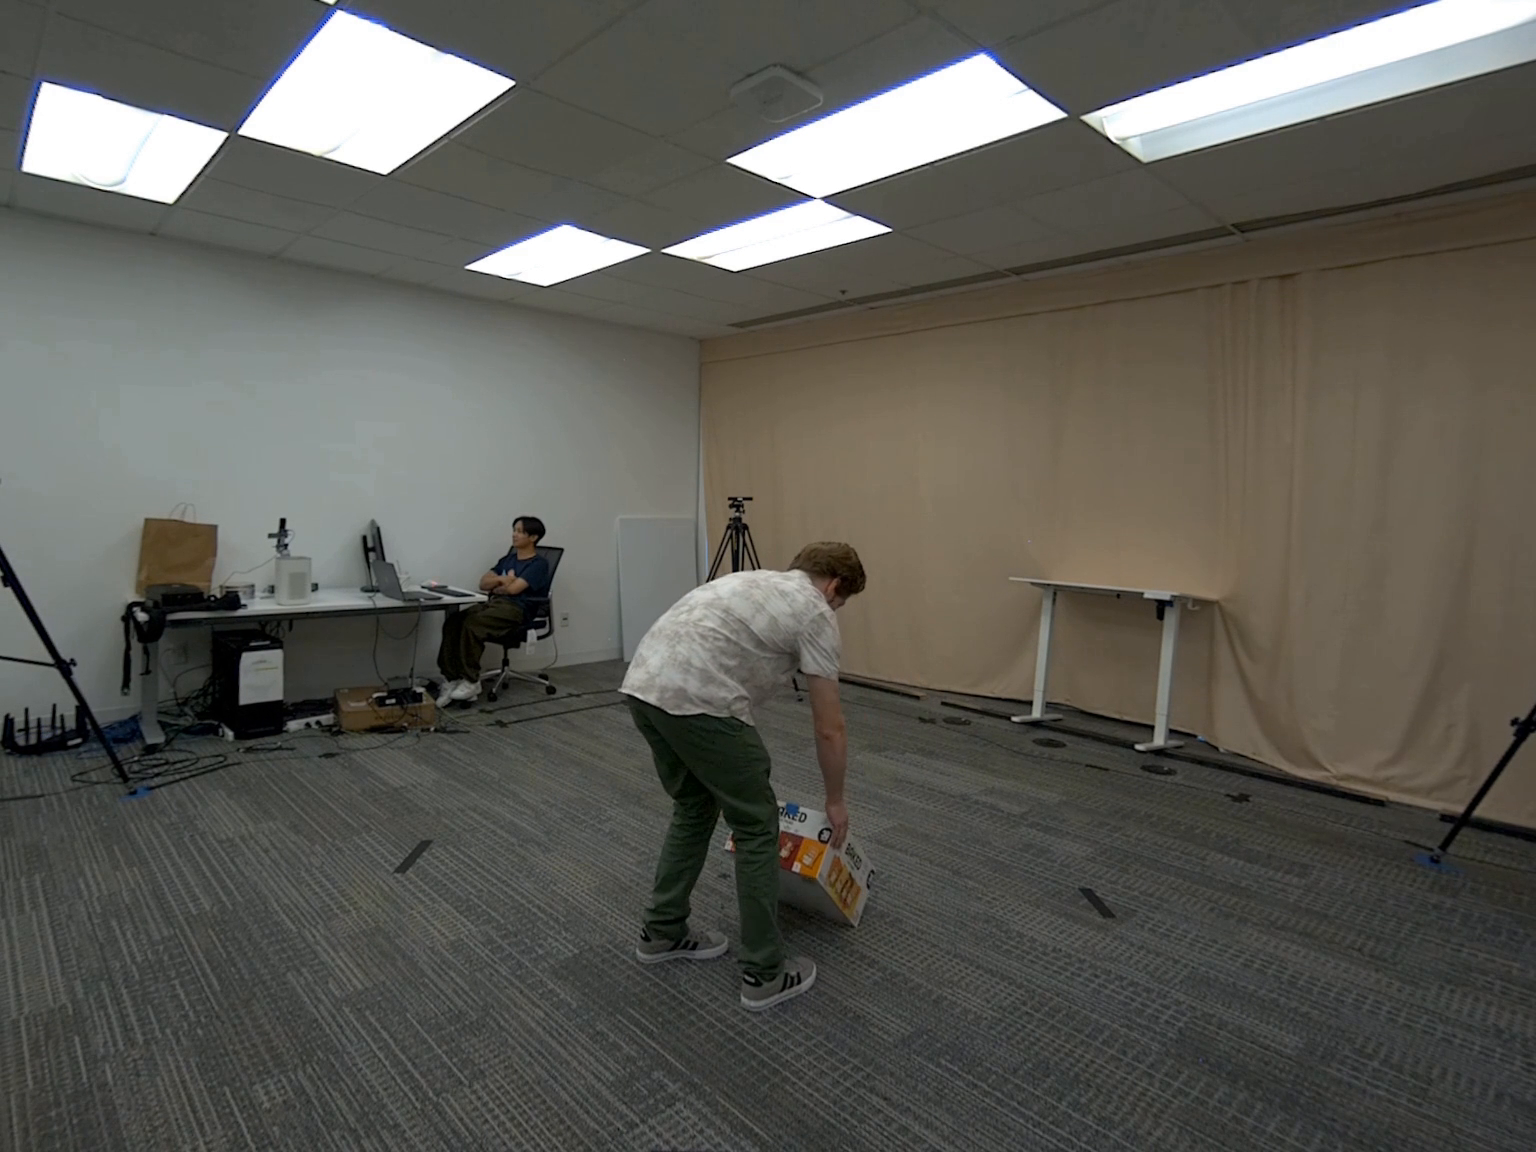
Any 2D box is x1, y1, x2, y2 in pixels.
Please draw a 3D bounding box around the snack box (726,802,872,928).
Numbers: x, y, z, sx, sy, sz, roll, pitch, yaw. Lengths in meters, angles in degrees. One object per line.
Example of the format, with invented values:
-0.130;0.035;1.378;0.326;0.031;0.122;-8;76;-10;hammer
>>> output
0.107;0.935;2.765;0.348;0.207;0.393;6;-37;34;snack box
